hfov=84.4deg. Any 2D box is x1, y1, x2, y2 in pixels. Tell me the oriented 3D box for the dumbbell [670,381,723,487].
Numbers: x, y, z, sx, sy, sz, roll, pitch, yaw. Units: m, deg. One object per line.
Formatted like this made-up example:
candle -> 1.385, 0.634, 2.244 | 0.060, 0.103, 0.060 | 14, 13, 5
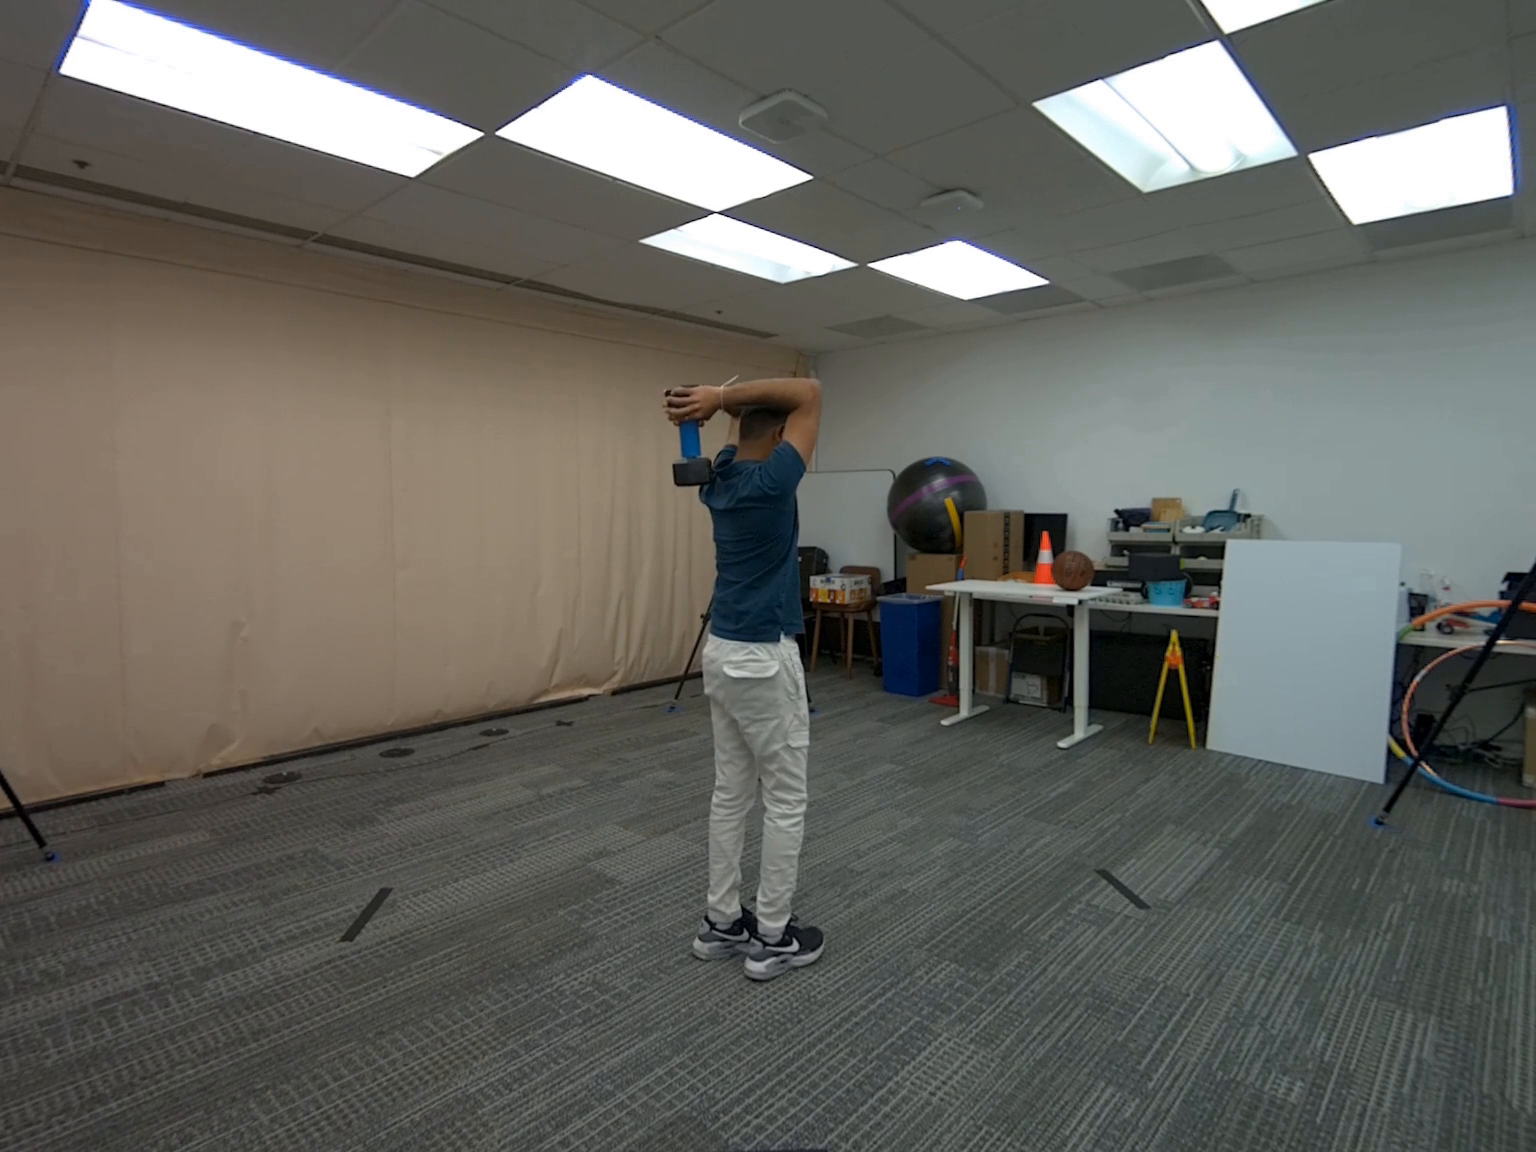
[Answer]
dumbbell -> -0.212, -0.414, 2.463 | 0.121, 0.292, 0.111 | -1, 10, -17
